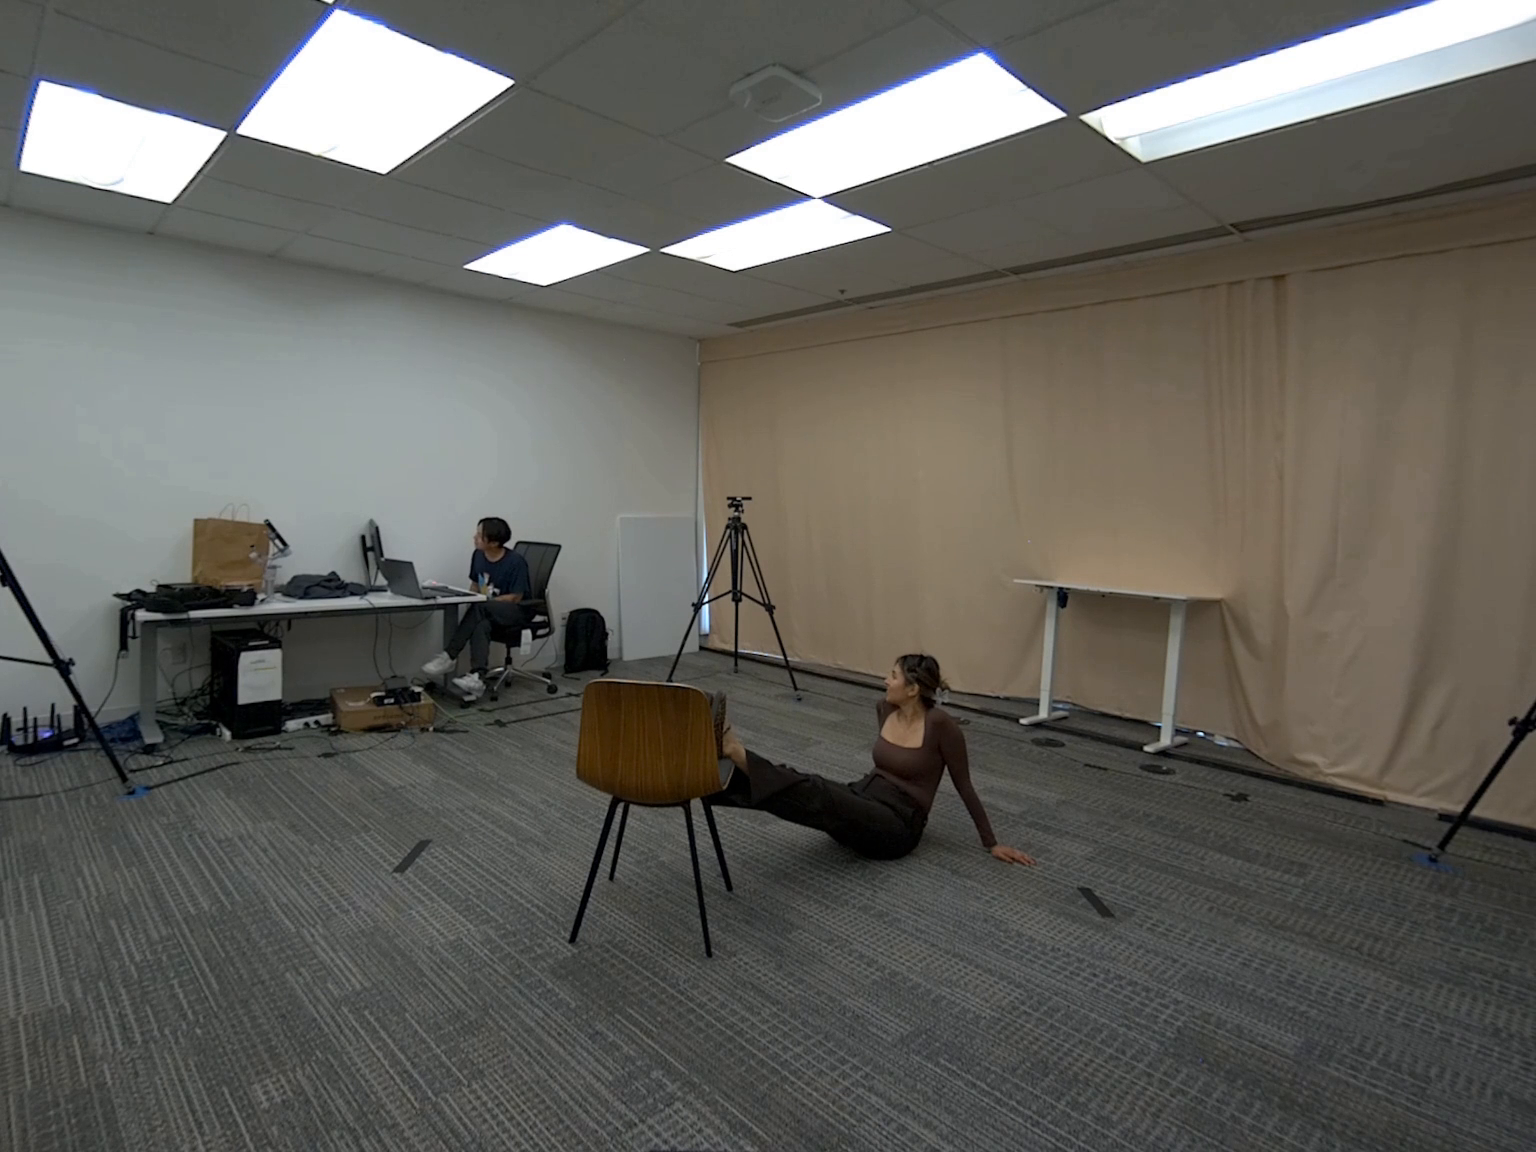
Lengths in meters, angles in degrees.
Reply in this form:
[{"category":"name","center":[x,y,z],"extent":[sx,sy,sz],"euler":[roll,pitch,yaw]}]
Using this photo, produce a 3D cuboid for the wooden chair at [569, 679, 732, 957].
[{"category":"wooden chair","center":[-0.365,0.705,2.771],"extent":[0.481,0.873,0.522],"euler":[2,7,7]}]
